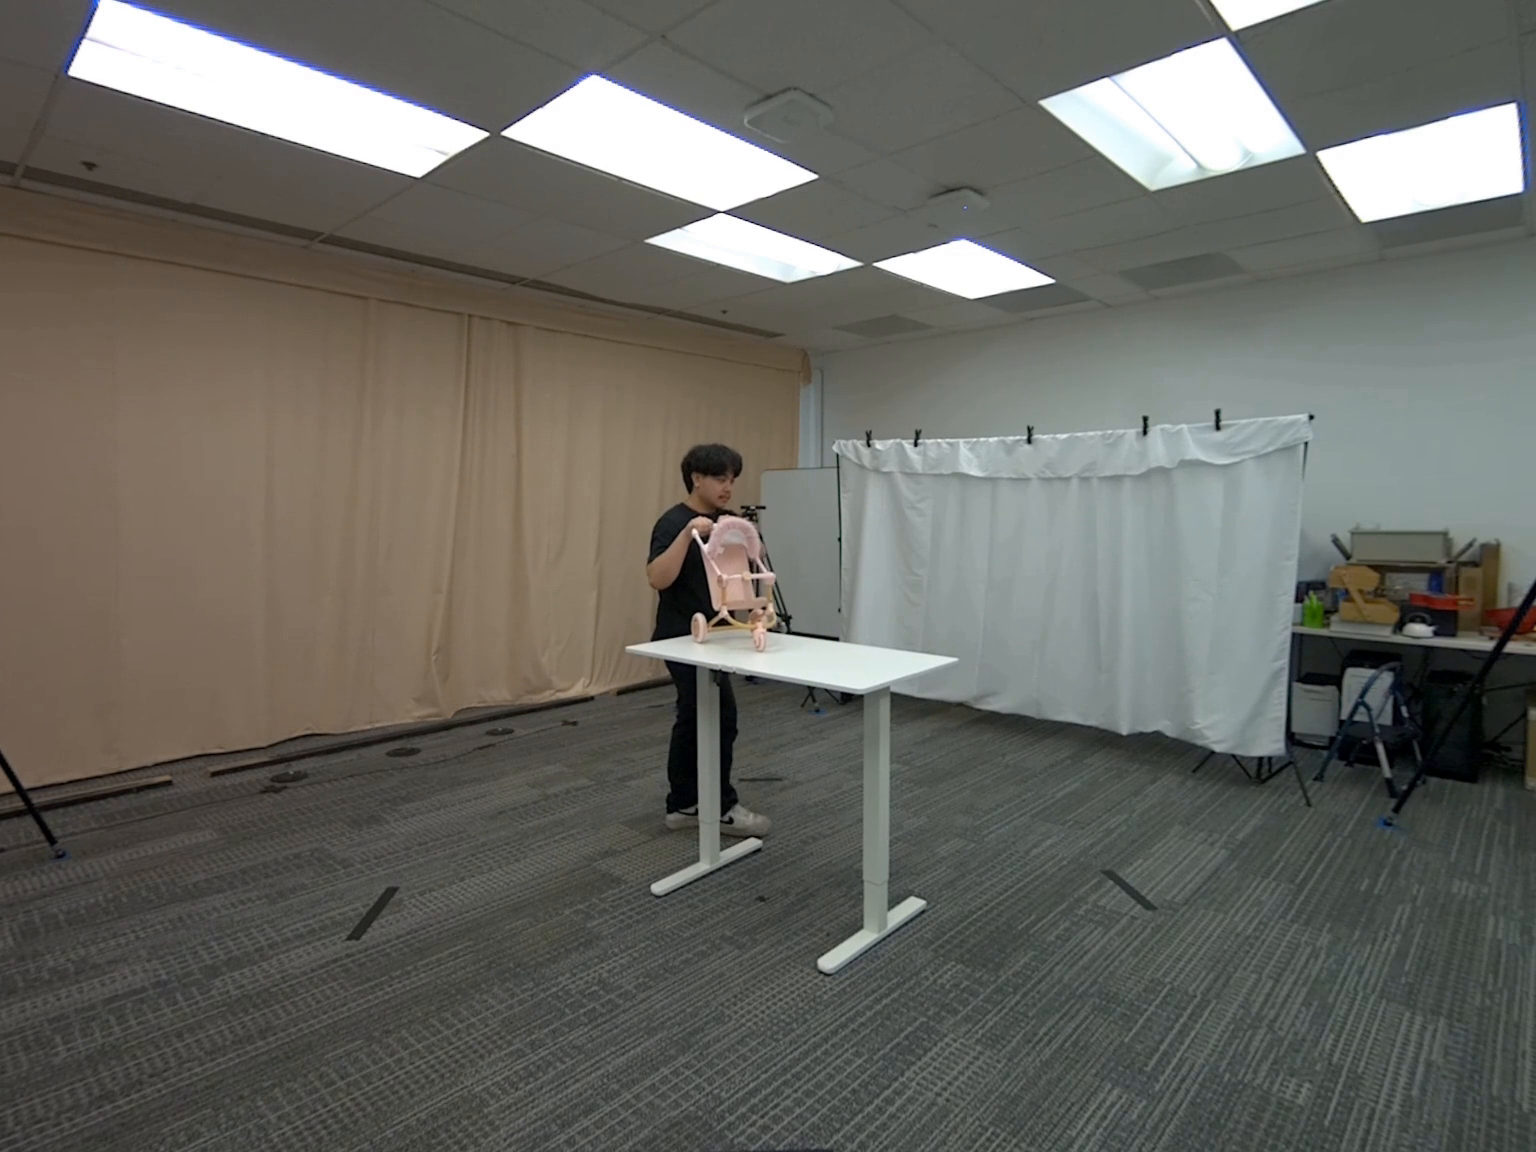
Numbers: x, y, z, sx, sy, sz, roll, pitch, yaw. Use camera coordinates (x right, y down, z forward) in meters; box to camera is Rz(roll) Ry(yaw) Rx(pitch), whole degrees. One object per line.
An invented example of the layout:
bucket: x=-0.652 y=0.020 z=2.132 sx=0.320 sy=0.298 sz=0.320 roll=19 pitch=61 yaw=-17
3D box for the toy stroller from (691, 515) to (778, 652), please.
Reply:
toy stroller: x=-0.111 y=0.025 z=3.098 sx=0.275 sy=0.538 sz=0.346 roll=-2 pitch=-9 yaw=-23
